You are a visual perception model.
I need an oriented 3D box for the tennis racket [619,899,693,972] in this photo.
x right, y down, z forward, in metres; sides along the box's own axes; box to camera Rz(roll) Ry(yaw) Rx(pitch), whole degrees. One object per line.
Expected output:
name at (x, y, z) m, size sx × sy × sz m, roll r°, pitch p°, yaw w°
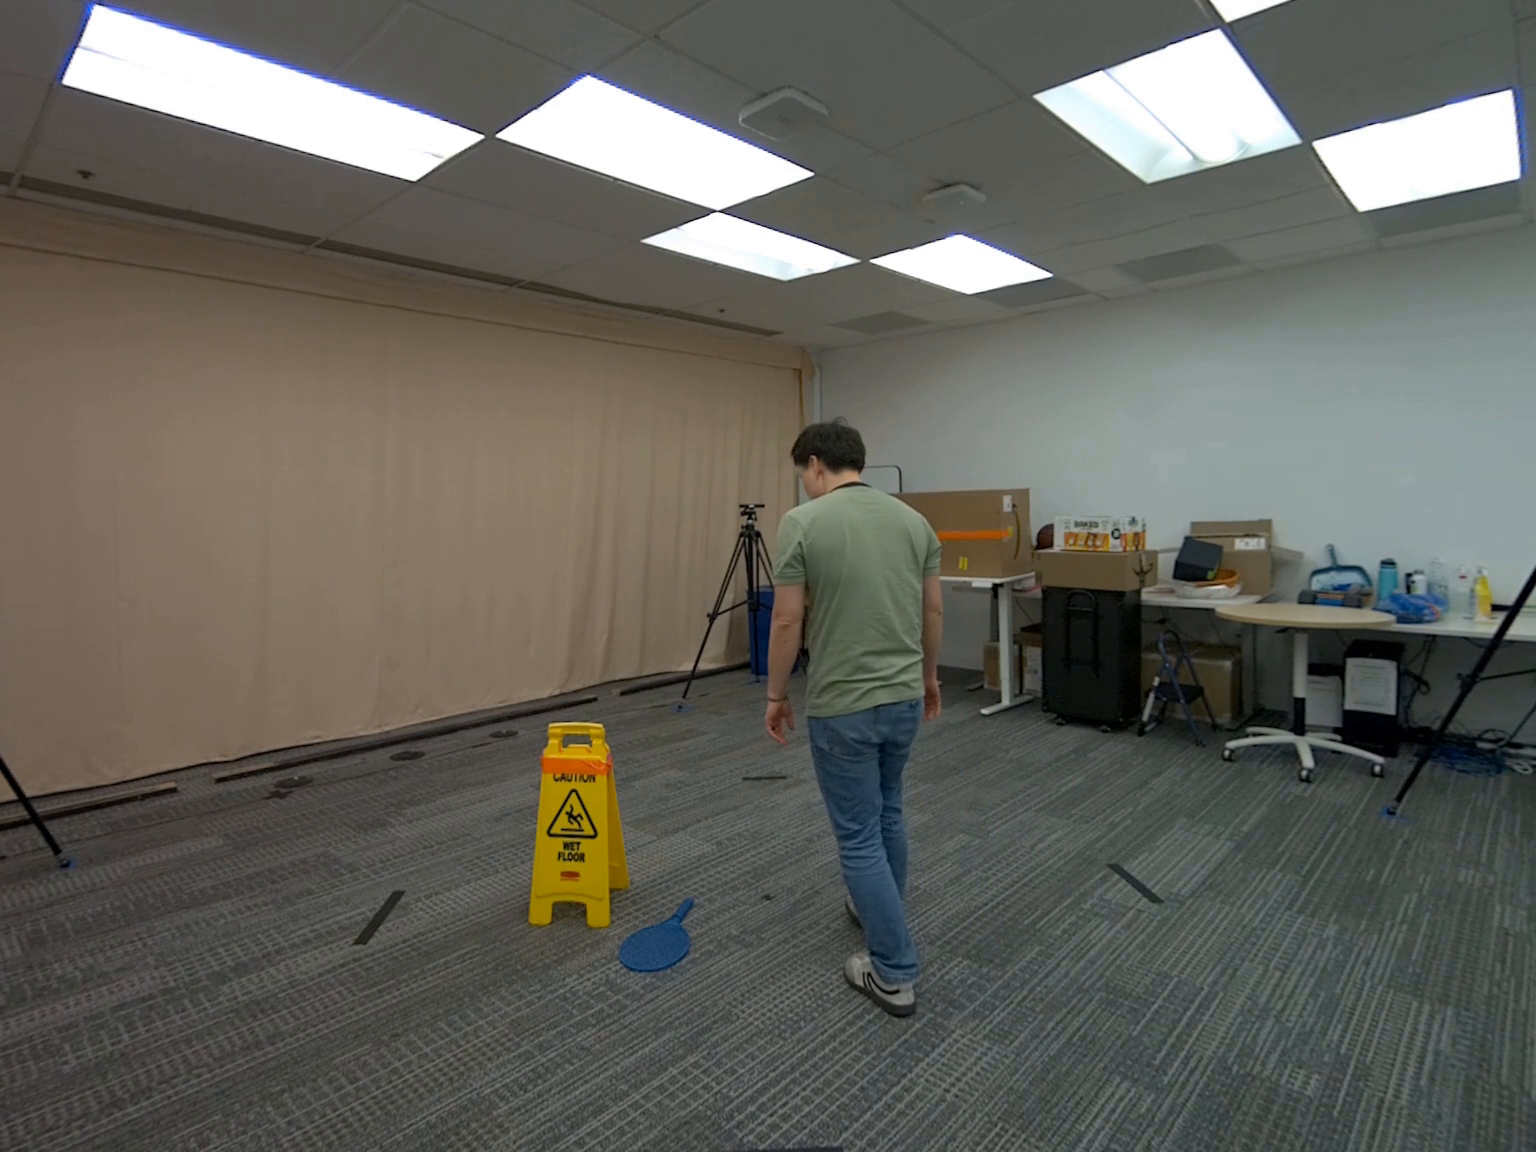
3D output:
tennis racket at (-0.333, 1.158, 2.723) m, size 0.217 × 0.031 × 0.427 m, roll 0°, pitch 6°, yaw 16°
